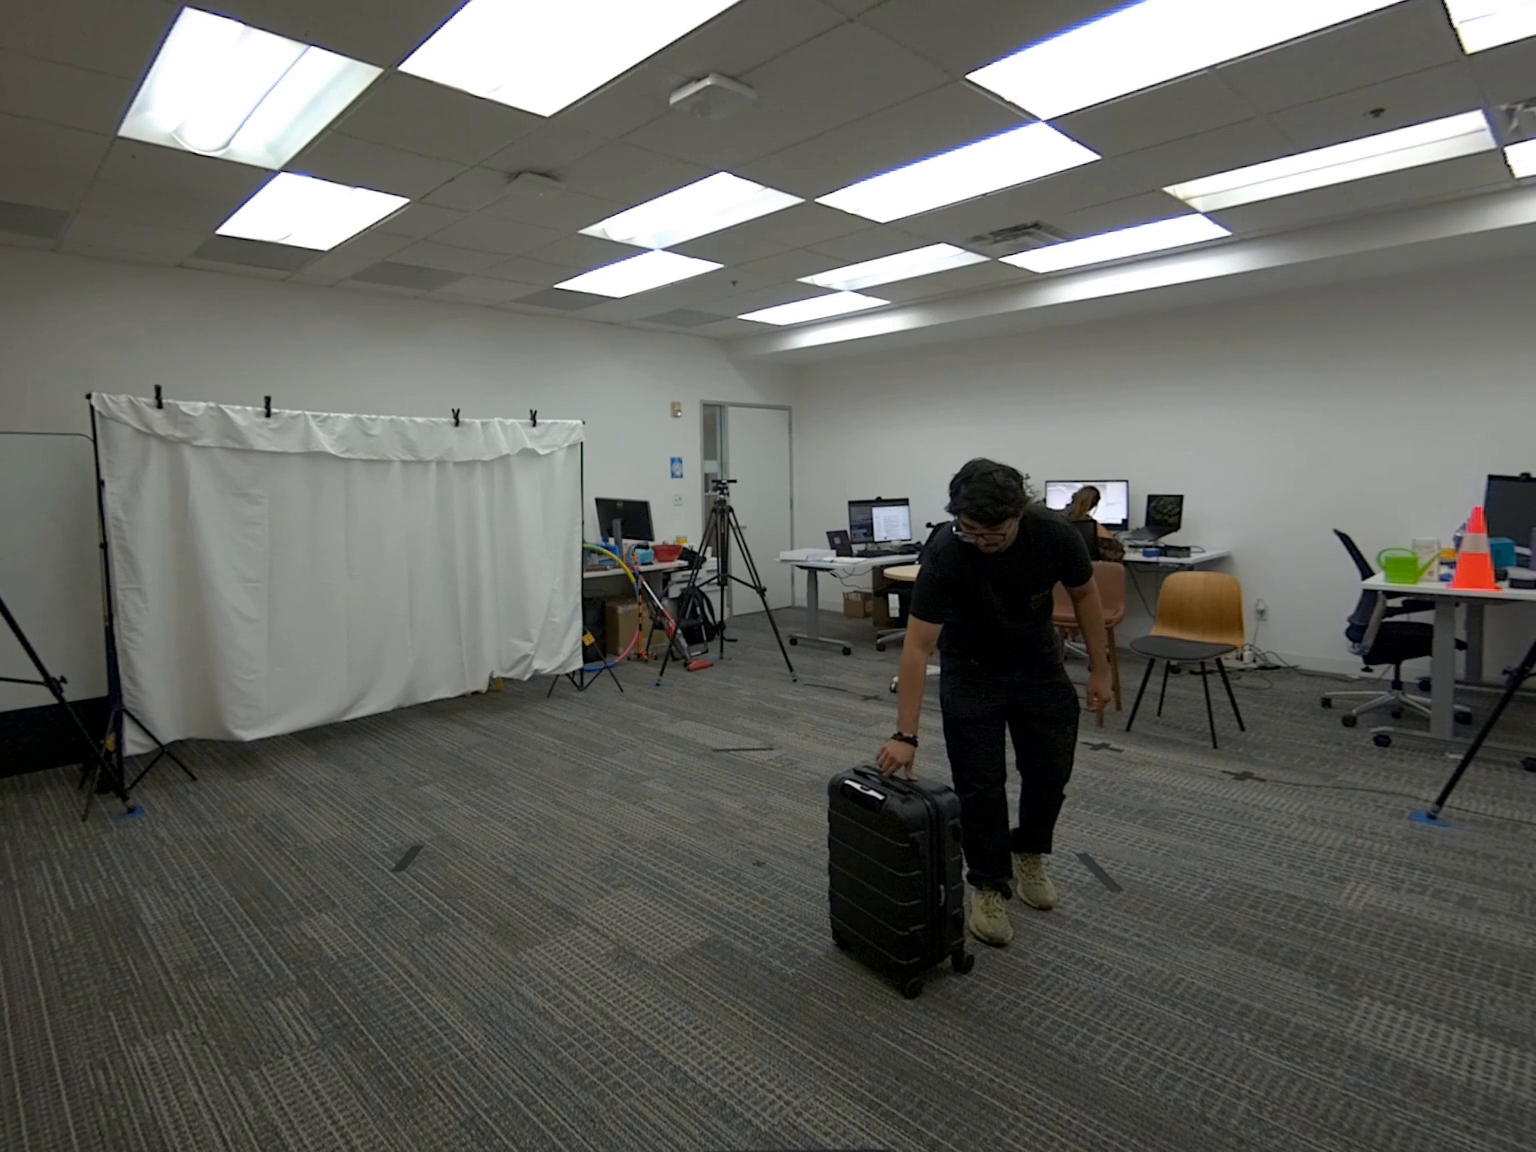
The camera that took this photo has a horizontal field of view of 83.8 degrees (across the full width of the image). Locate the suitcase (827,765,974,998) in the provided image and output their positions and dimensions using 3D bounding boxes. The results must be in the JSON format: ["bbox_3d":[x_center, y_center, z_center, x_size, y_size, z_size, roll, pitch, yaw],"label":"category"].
[{"bbox_3d":[0.370,0.838,2.455,0.242,0.547,0.386,-5,5,-33],"label":"suitcase"}]
